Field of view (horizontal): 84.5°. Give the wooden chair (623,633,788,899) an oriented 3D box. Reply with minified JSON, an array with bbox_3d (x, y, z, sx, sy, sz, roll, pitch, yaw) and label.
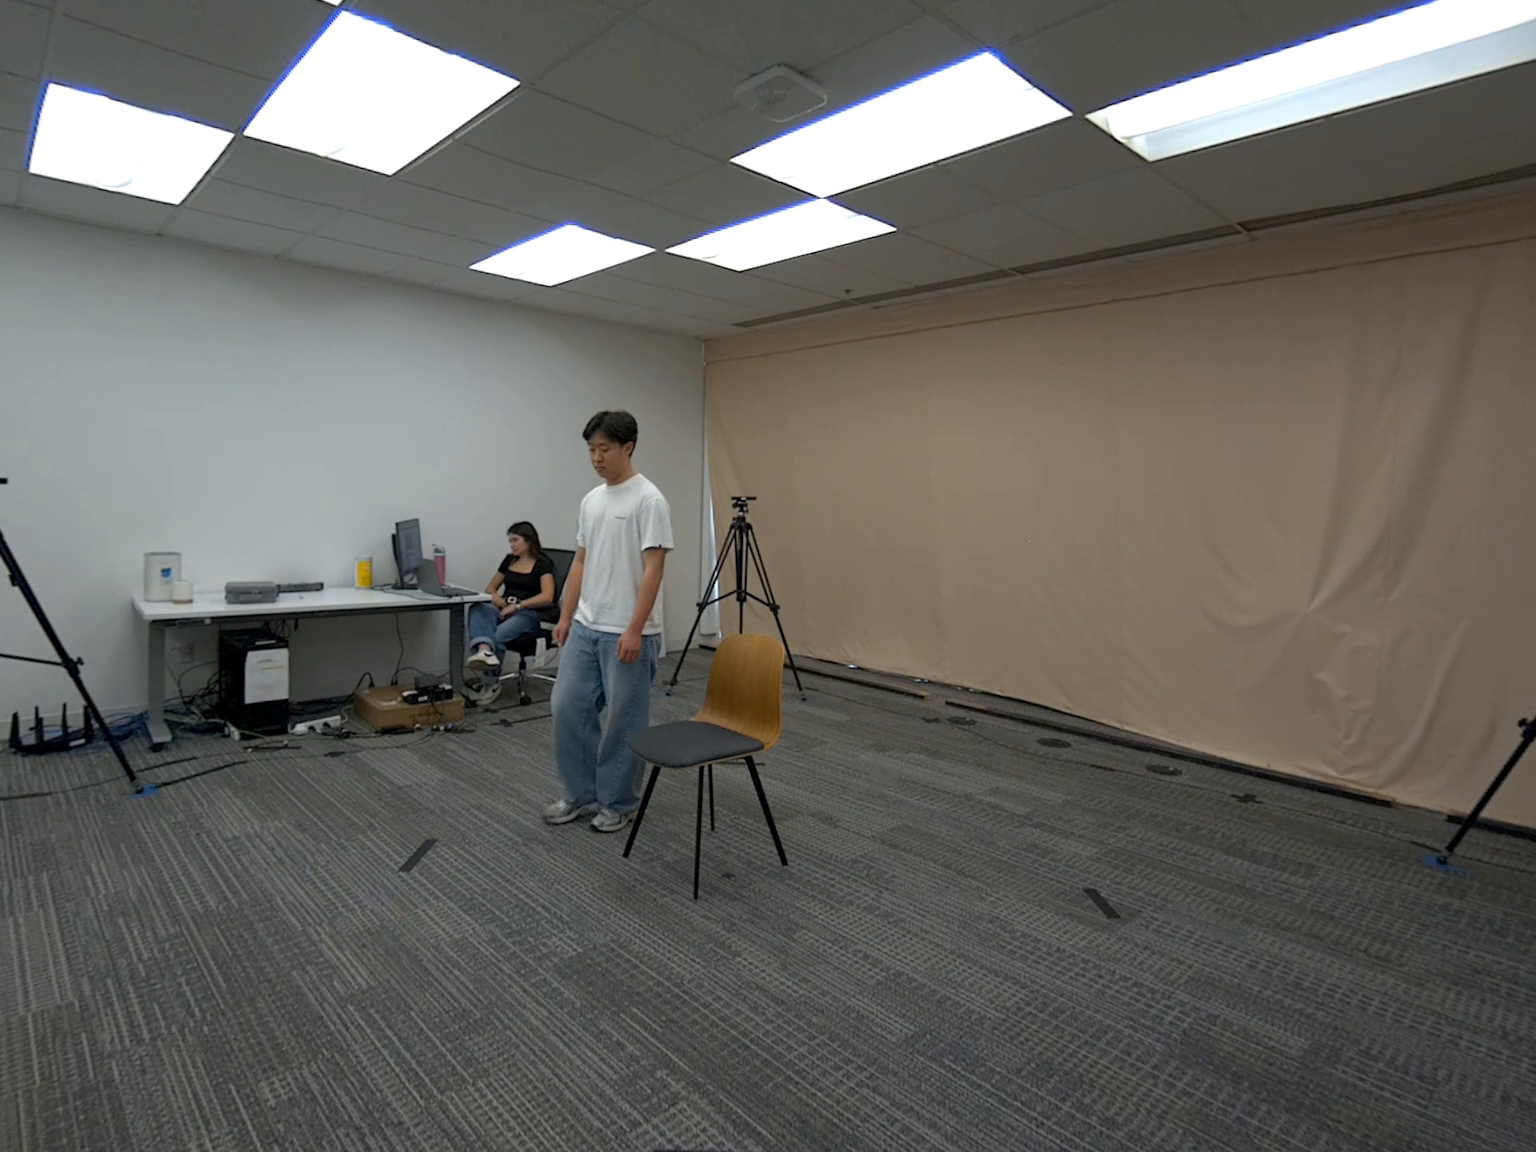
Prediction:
[{"bbox_3d":[-0.240,0.671,3.184,0.510,0.877,0.490,4,1,-42],"label":"wooden chair"}]
